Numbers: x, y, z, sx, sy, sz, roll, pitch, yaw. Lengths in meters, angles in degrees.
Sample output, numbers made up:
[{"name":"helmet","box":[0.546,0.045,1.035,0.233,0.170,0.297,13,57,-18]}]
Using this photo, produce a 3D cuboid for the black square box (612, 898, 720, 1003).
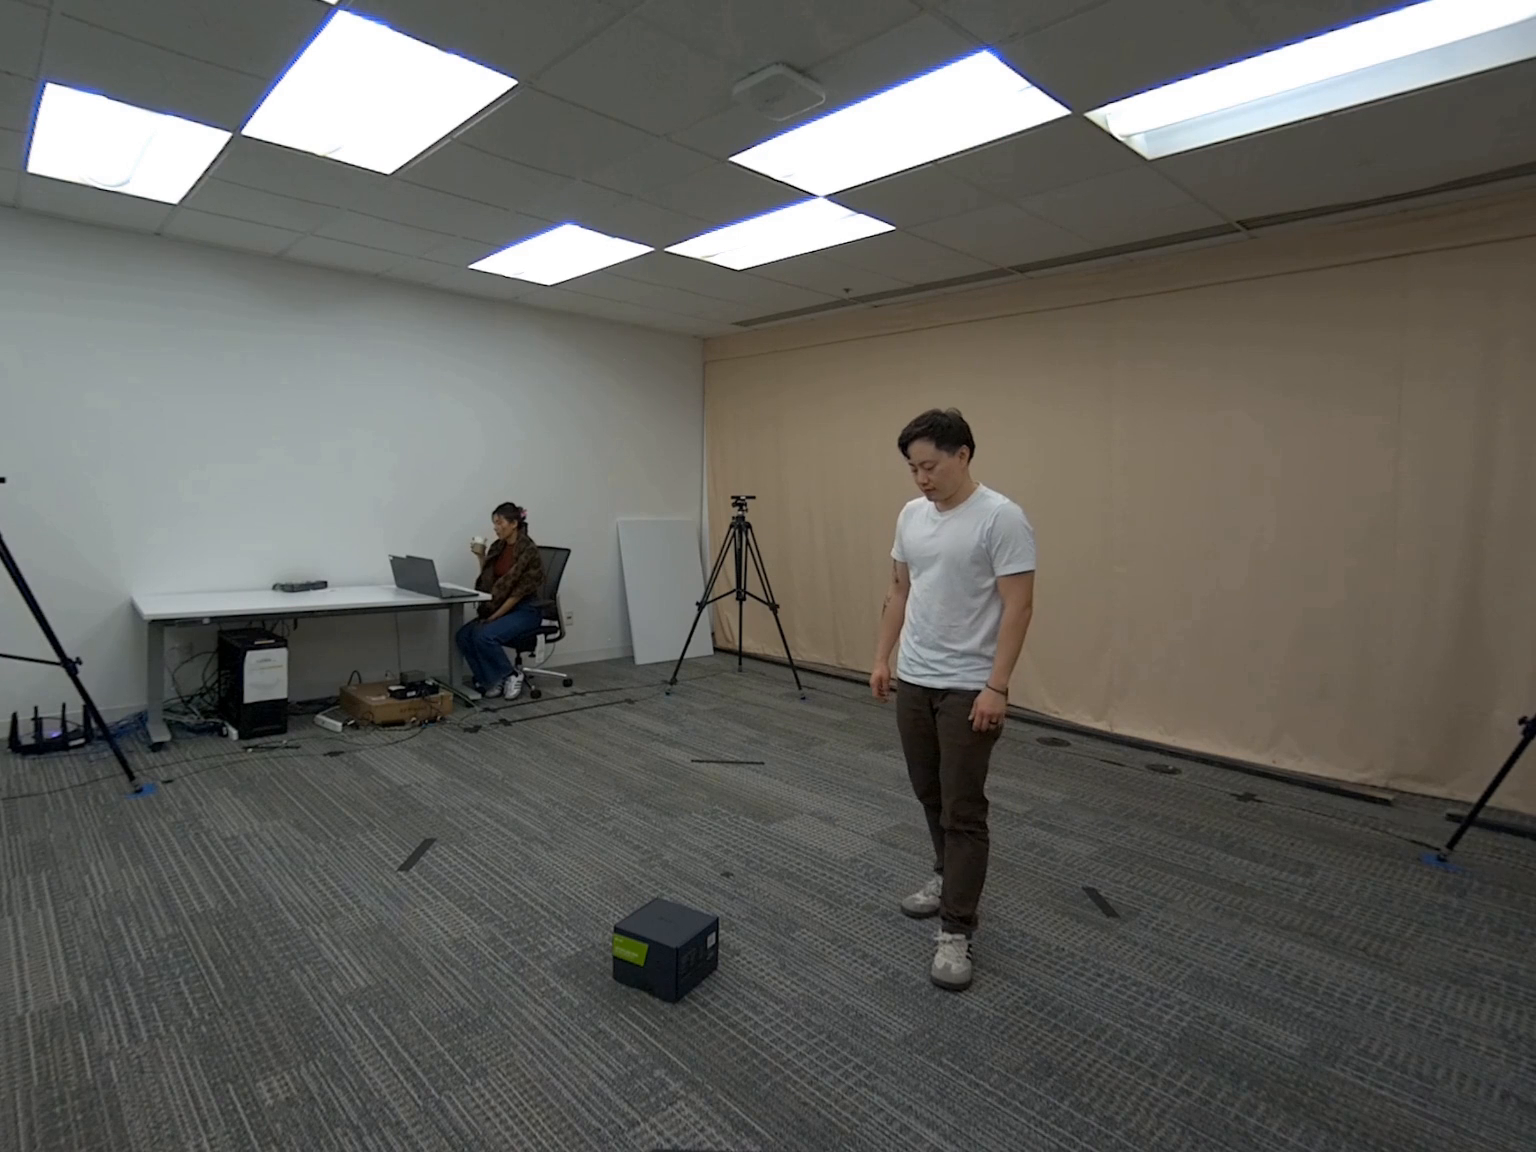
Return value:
[{"name":"black square box","box":[-0.303,1.077,2.441,0.233,0.155,0.213,4,5,30]}]
